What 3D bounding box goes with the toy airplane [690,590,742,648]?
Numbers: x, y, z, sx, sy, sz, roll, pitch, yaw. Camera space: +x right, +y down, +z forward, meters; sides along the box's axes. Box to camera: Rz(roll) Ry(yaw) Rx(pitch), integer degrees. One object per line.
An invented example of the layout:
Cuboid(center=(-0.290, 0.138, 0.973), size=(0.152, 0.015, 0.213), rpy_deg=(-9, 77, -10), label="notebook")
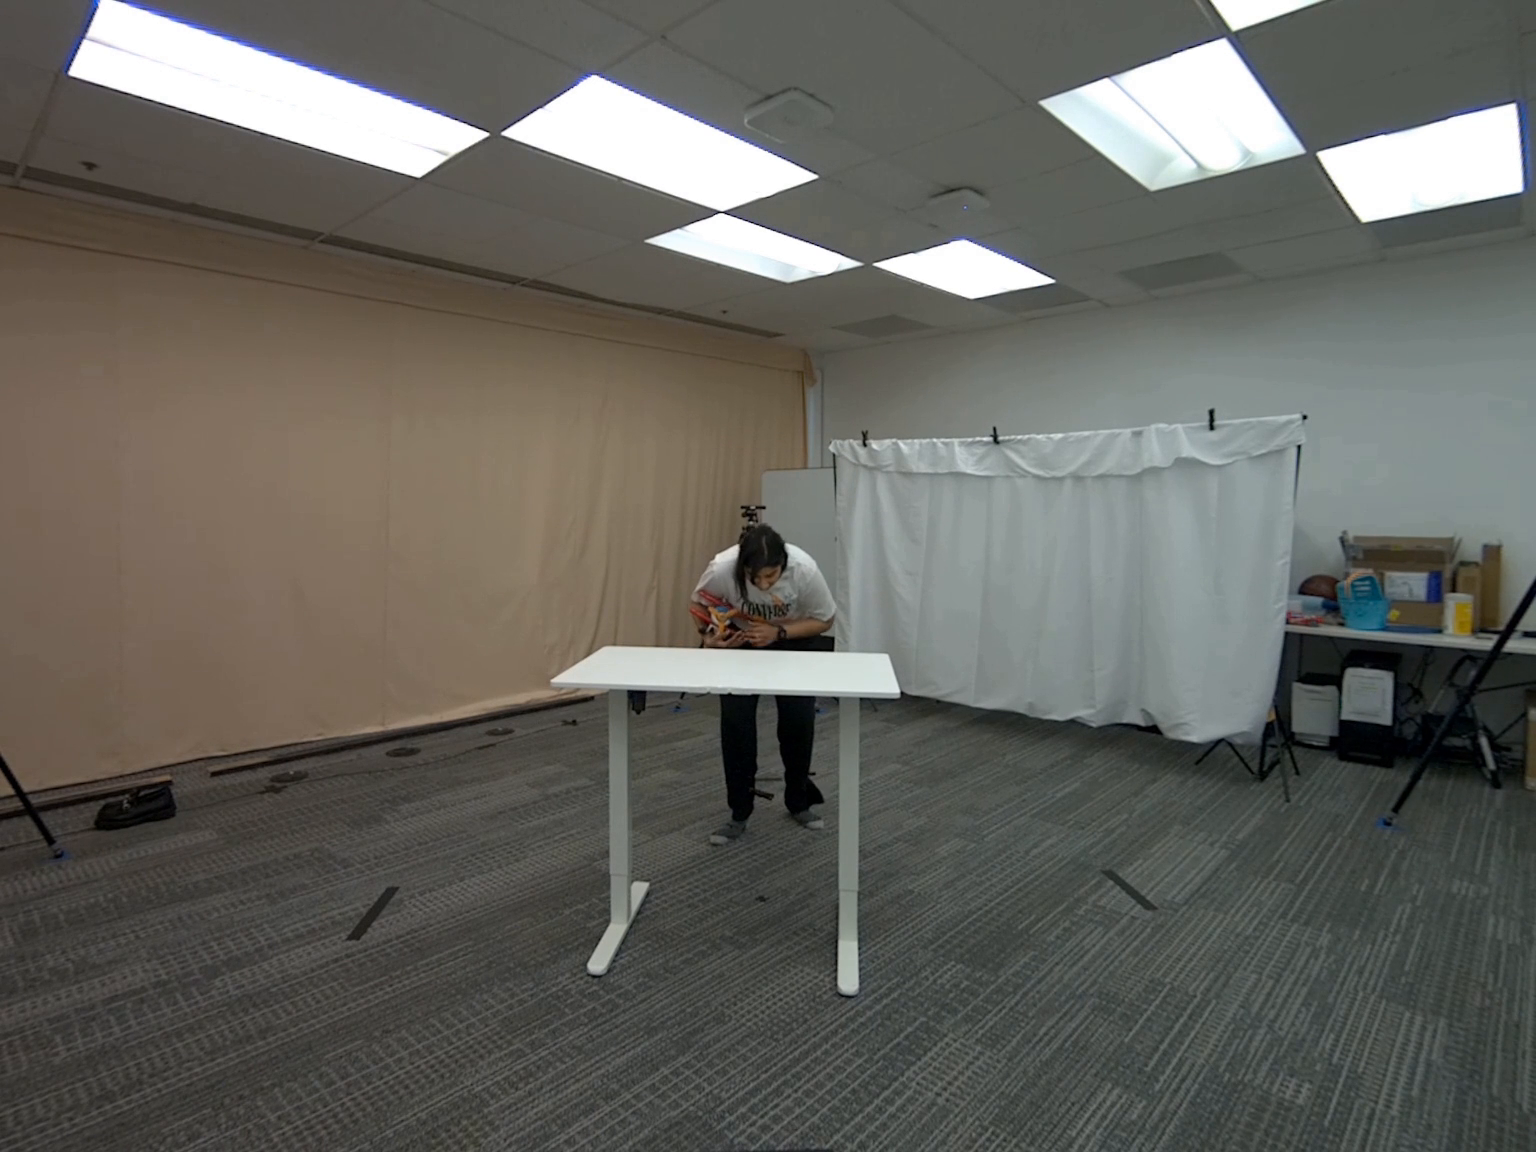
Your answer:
Cuboid(center=(-0.215, 0.157, 3.507), size=(0.244, 0.156, 0.268), rpy_deg=(12, 23, -29), label="toy airplane")
